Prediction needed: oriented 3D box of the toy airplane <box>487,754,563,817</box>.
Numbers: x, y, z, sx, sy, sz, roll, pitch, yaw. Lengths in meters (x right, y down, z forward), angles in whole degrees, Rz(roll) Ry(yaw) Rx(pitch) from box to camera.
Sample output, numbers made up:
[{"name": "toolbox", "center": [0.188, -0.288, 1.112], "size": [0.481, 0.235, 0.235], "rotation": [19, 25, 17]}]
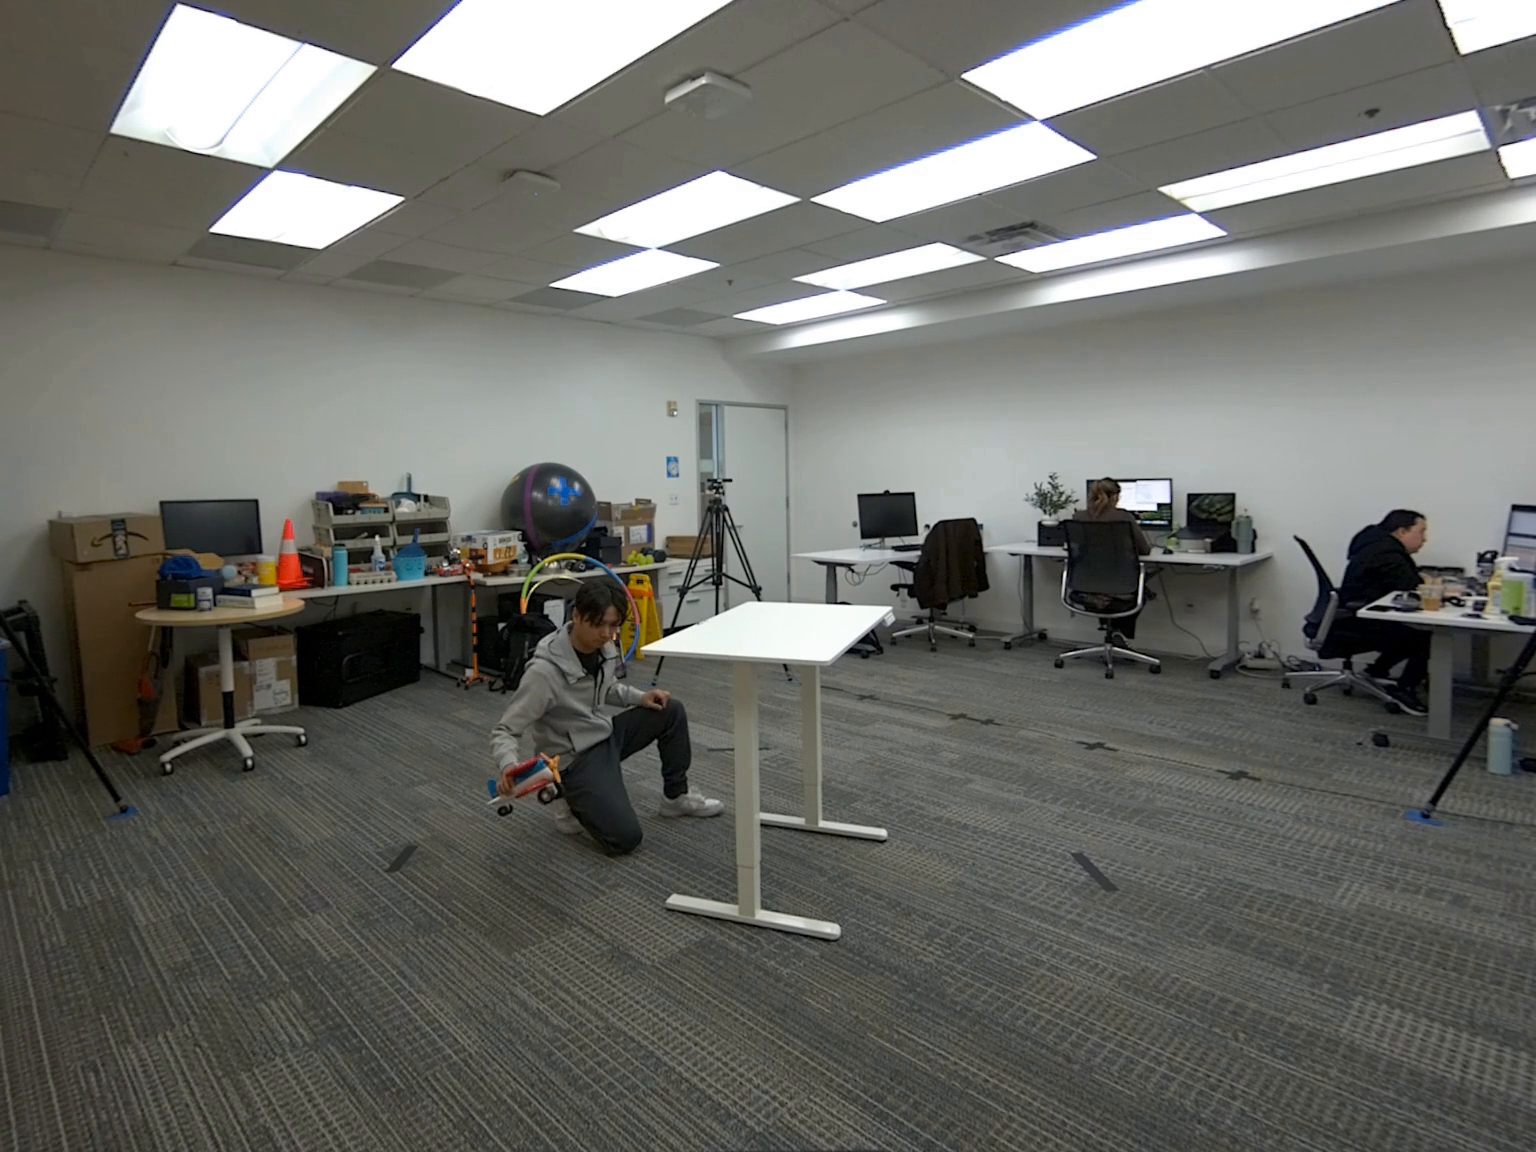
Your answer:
[{"name": "toy airplane", "center": [-0.812, 0.727, 2.871], "size": [0.255, 0.158, 0.252], "rotation": [-12, -9, -20]}]
